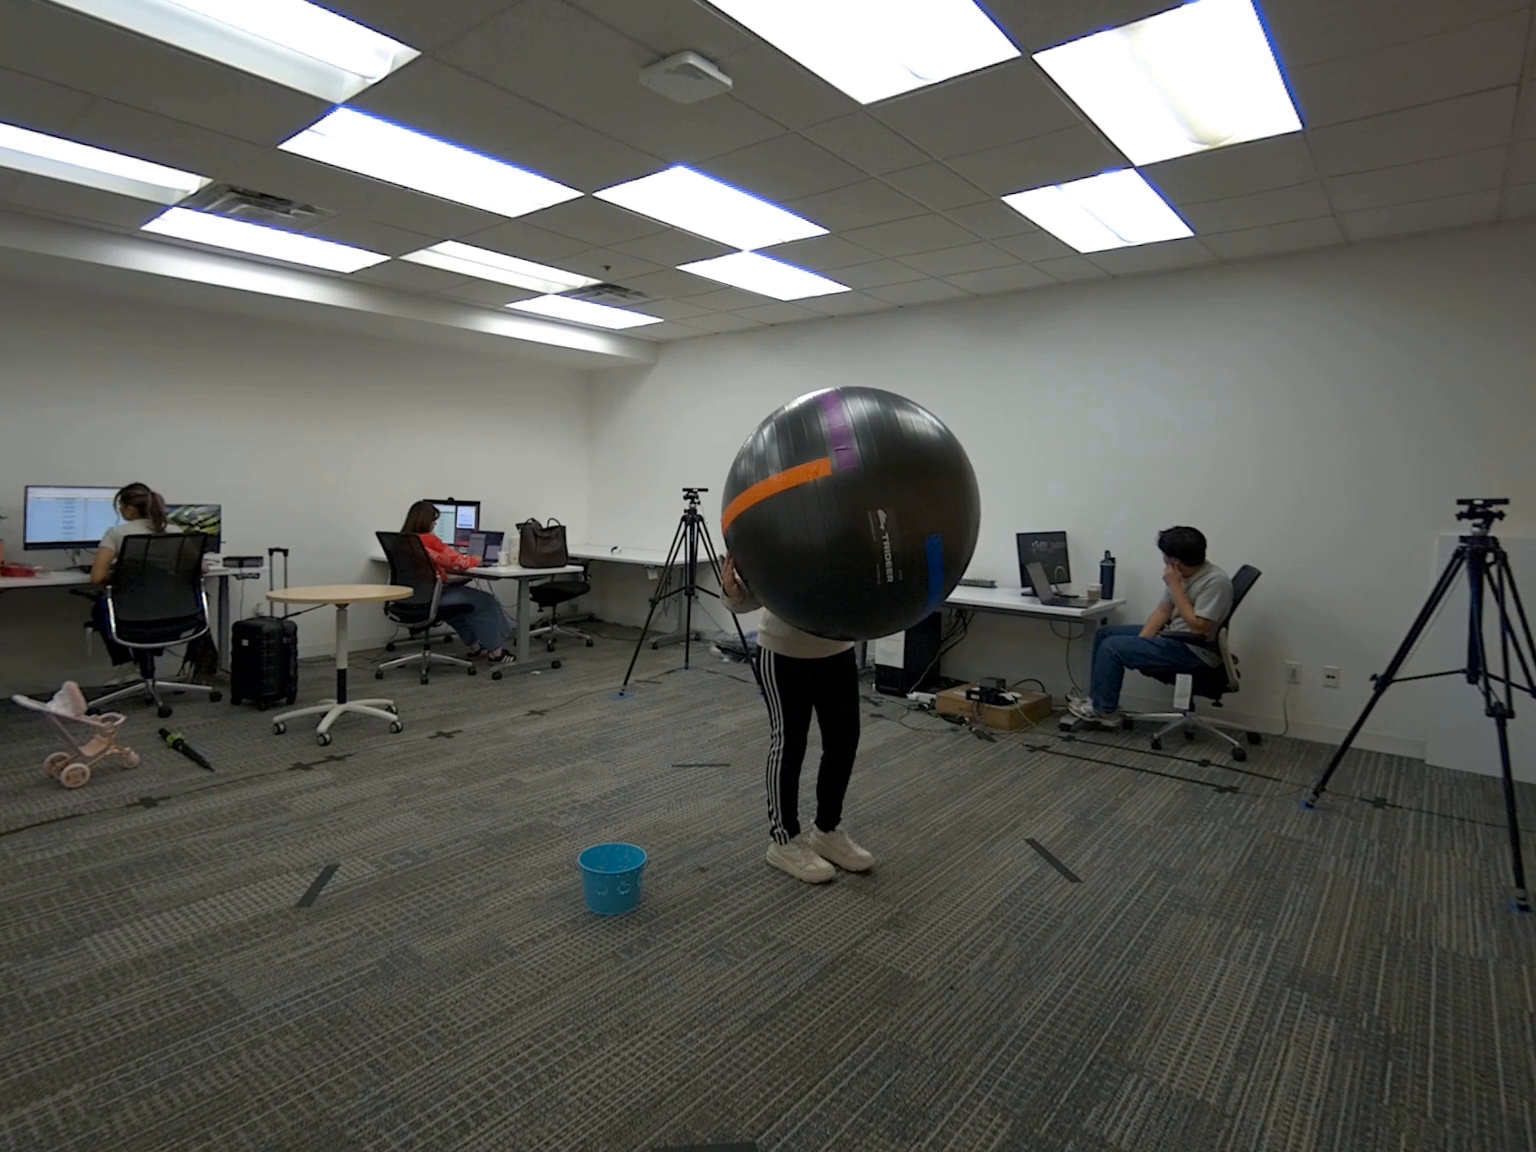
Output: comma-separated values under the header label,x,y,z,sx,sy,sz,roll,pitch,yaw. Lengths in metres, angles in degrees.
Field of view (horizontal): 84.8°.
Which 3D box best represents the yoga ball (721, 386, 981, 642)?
label,x,y,z,sx,sy,sz,roll,pitch,yaw
yoga ball,0.239,-0.179,2.542,0.757,0.756,0.761,1,4,-2
